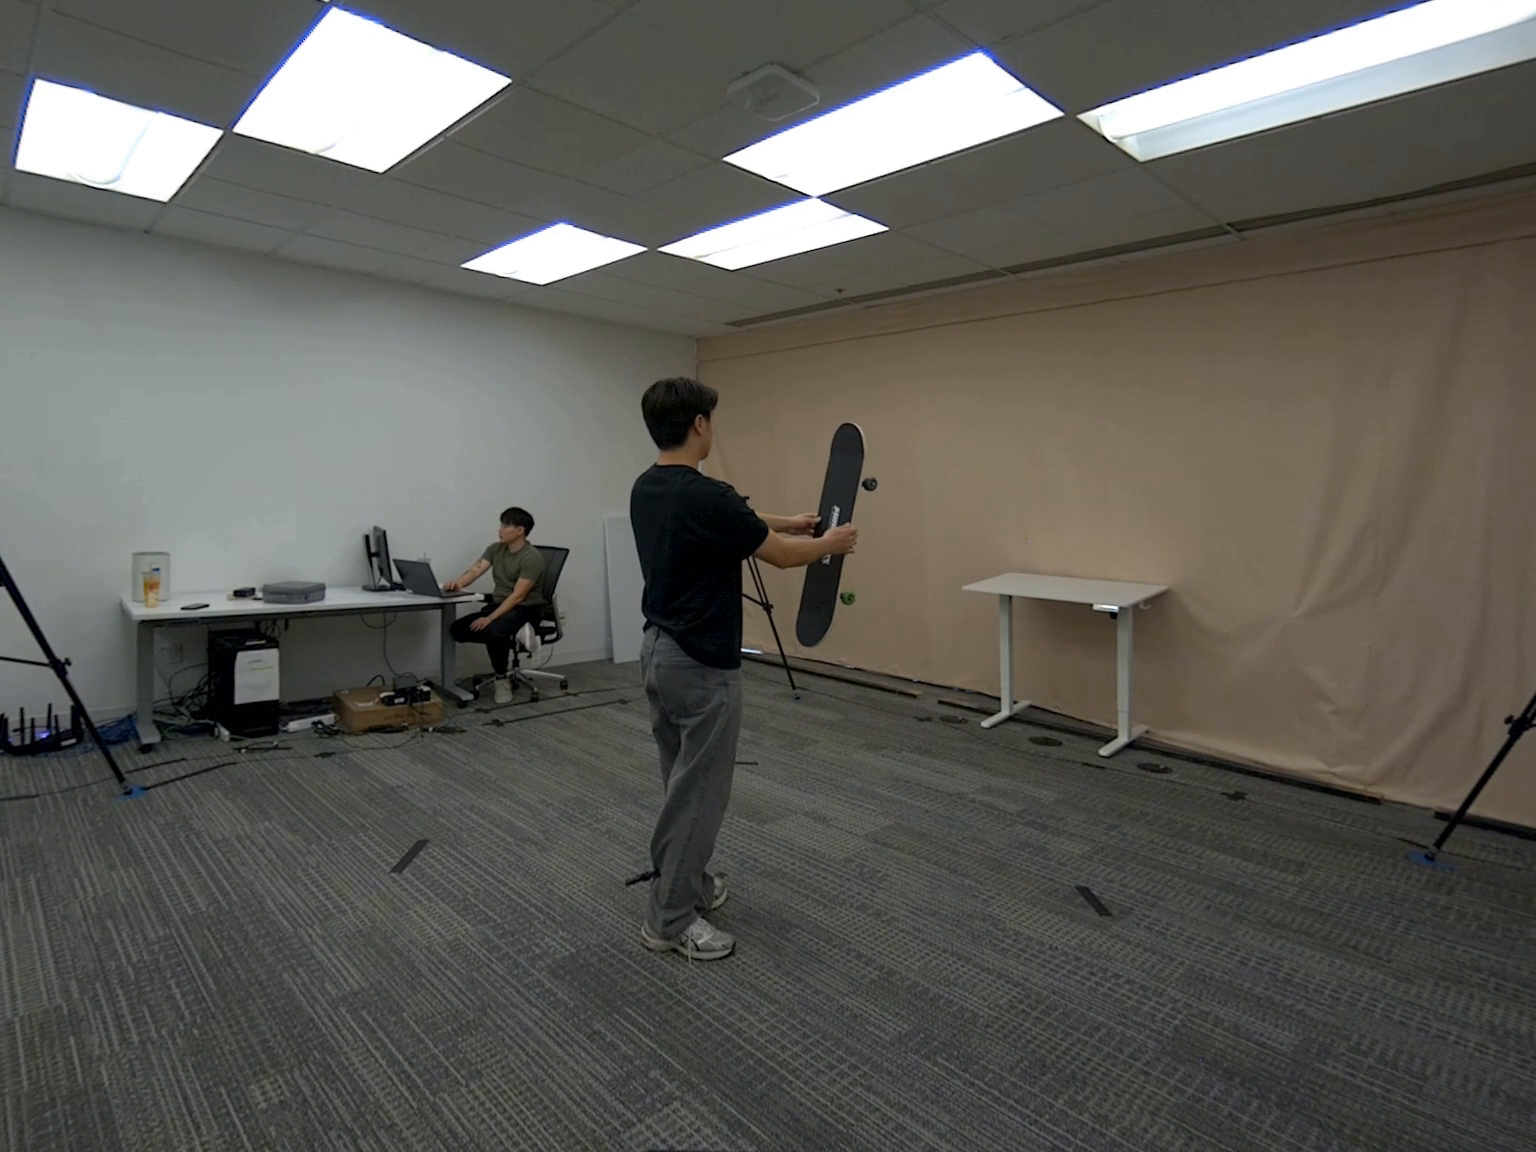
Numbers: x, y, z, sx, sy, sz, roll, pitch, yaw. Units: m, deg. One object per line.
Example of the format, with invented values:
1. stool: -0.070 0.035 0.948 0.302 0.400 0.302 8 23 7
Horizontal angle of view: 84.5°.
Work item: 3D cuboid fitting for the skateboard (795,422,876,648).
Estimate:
1. skateboard: 0.240 -0.133 2.931 0.107 0.785 0.198 11 0 -34
